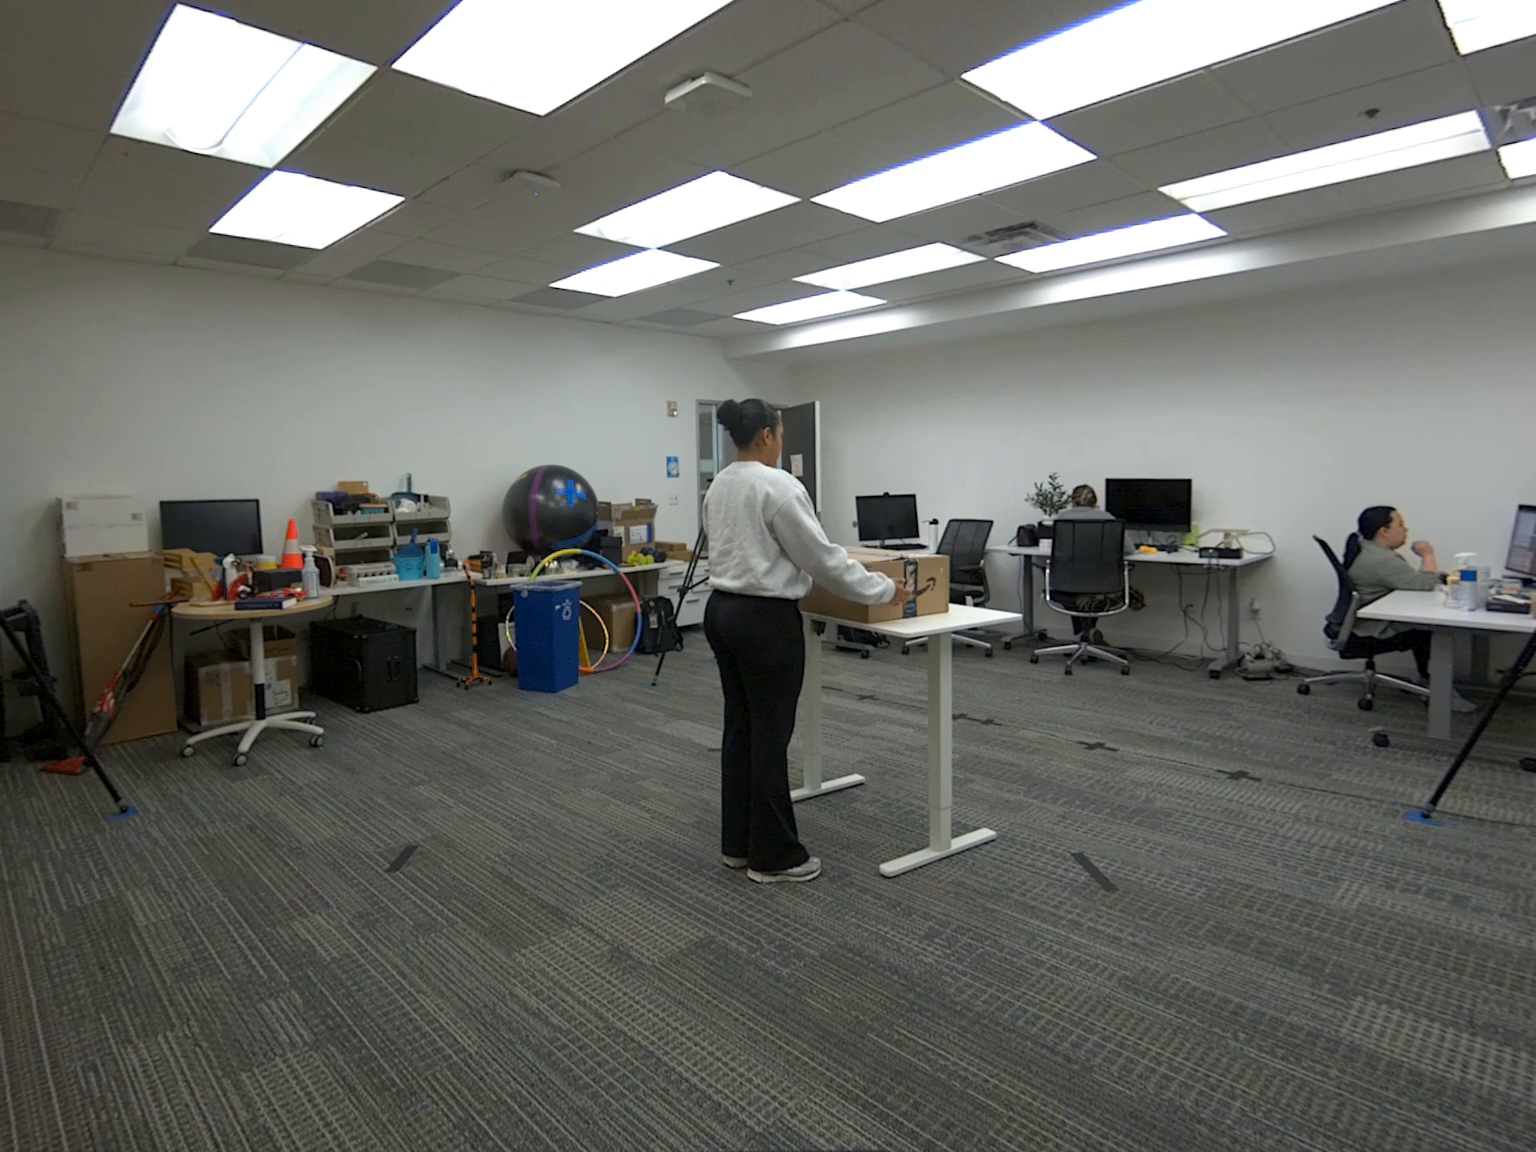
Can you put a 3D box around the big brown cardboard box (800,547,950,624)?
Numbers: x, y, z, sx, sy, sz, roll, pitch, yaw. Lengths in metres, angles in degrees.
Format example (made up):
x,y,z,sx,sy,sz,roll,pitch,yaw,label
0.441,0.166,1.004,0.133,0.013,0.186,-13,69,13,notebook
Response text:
x,y,z,sx,sy,sz,roll,pitch,yaw,label
0.354,0.020,3.345,0.407,0.232,0.606,-6,7,-36,big brown cardboard box
